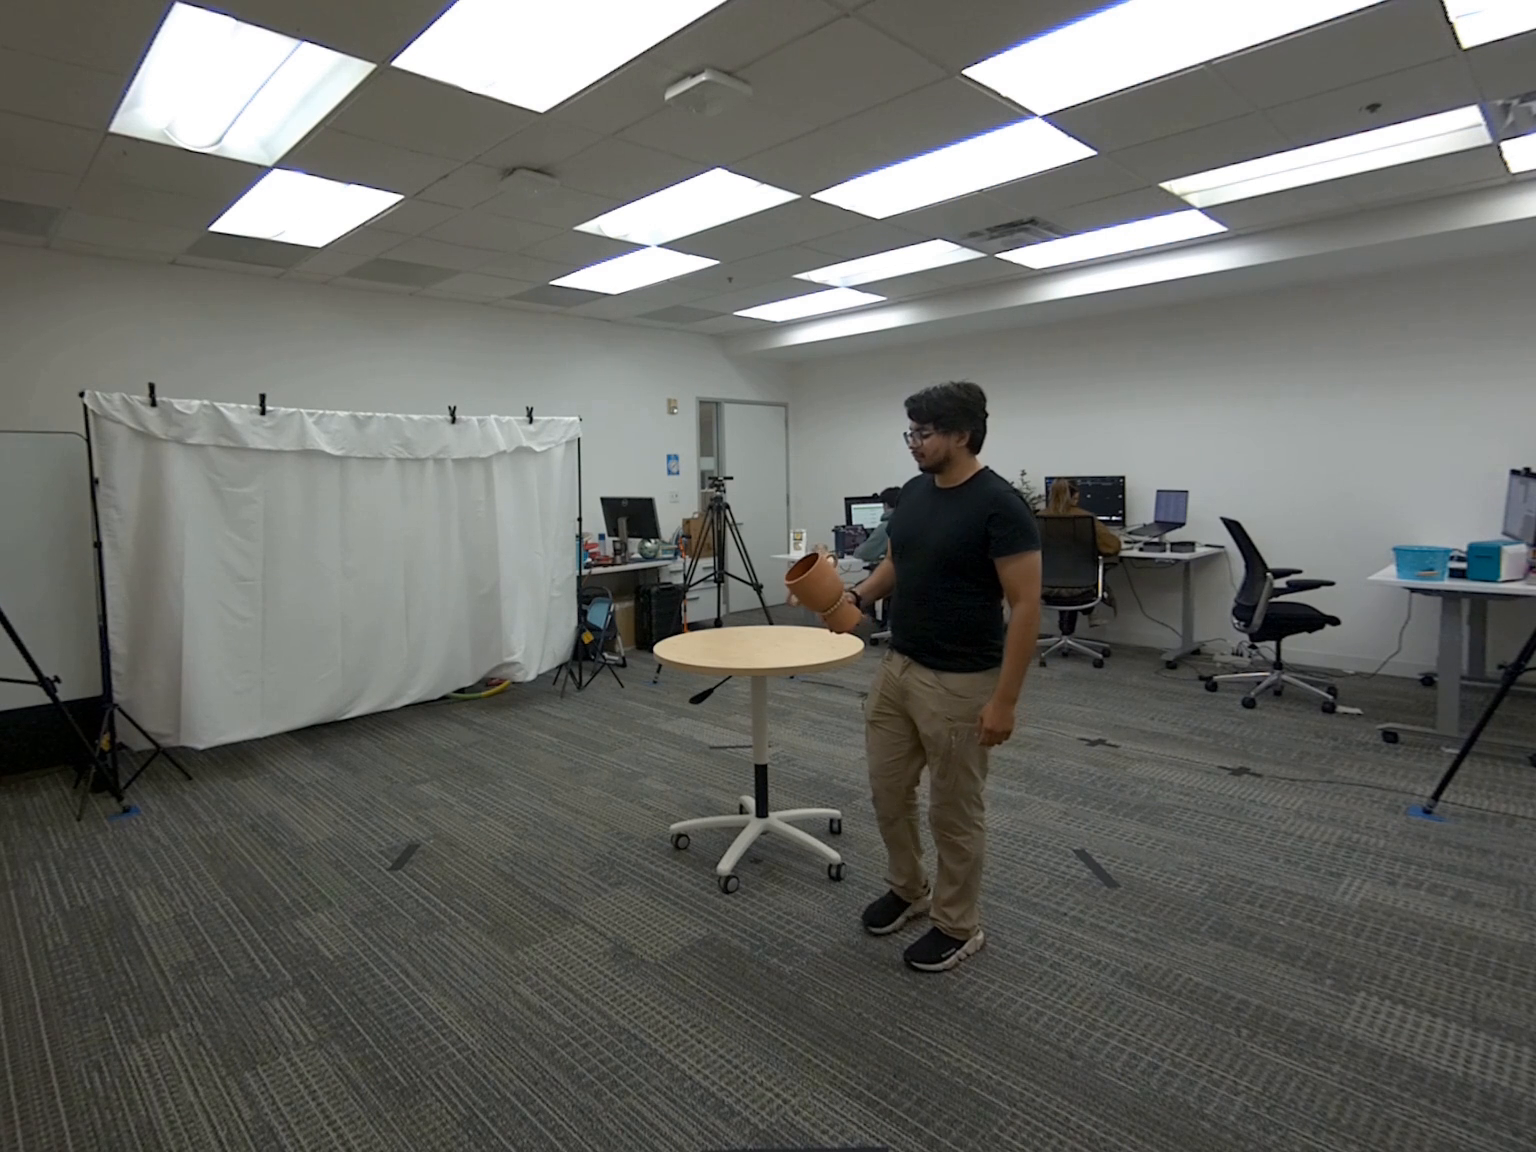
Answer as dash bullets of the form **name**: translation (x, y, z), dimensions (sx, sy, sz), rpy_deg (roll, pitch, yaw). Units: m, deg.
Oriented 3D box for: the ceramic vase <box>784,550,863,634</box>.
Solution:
- **ceramic vase**: translation (0.162, 0.051, 2.412), dimensions (0.160, 0.215, 0.137), rpy_deg (-32, 20, 24)
